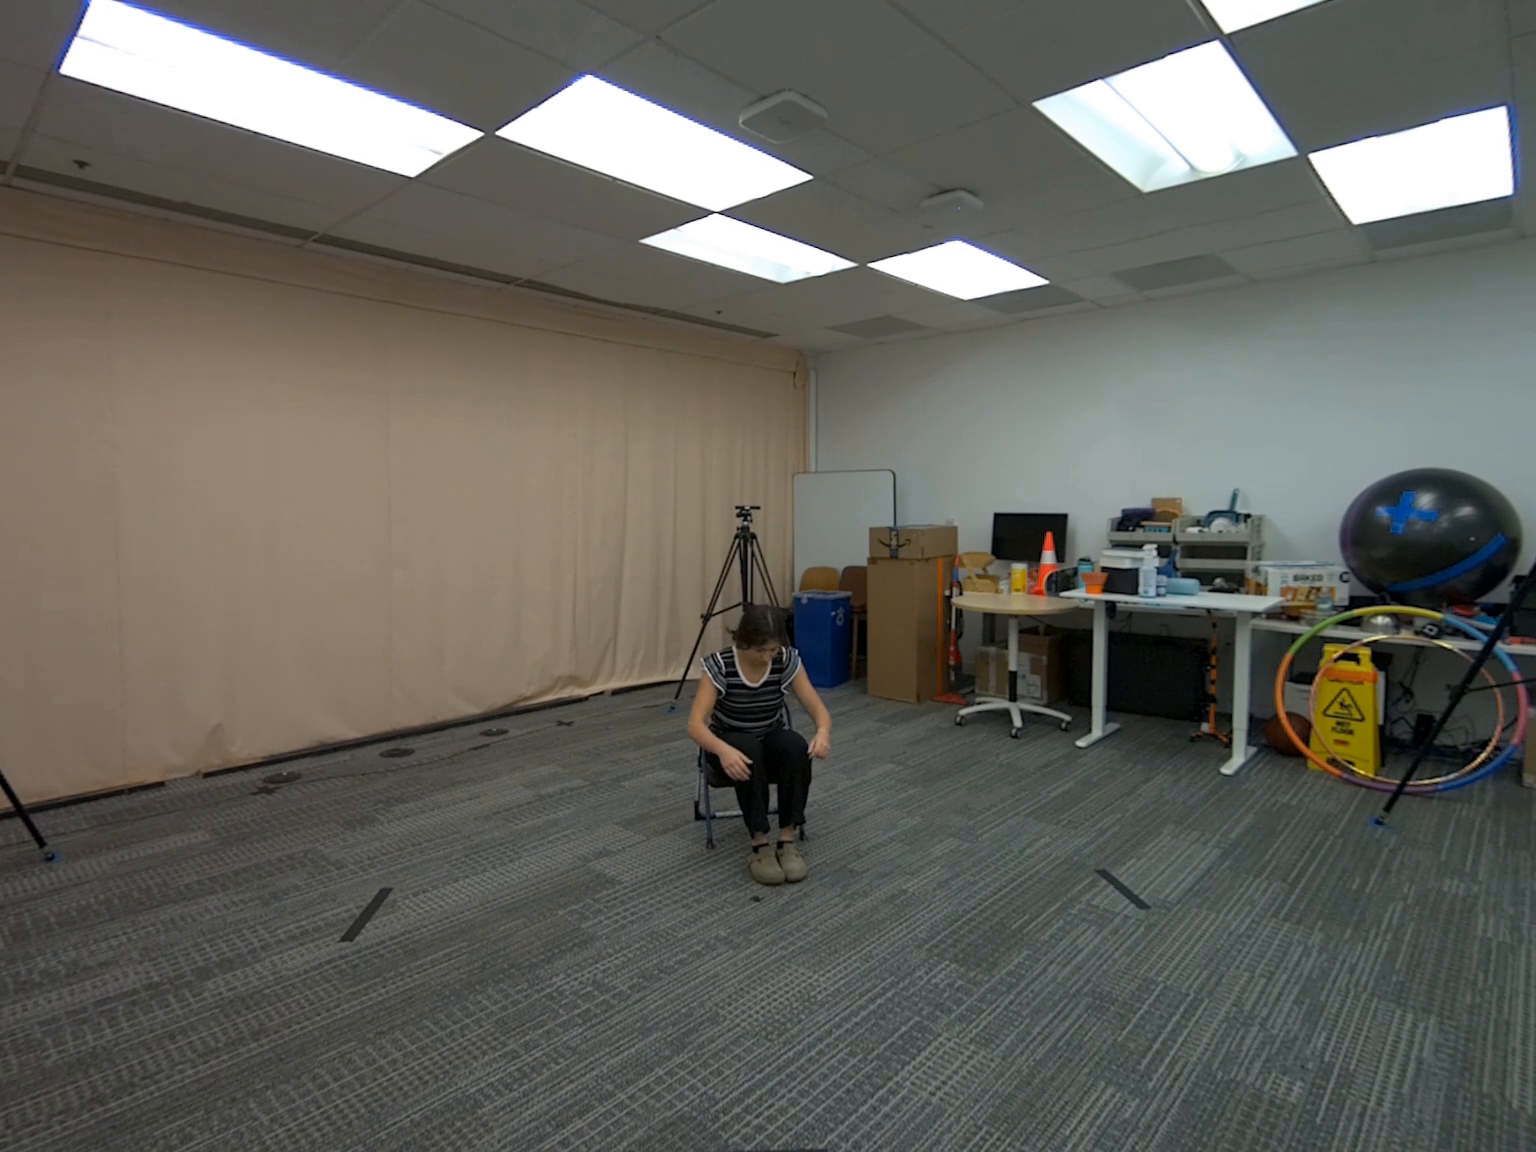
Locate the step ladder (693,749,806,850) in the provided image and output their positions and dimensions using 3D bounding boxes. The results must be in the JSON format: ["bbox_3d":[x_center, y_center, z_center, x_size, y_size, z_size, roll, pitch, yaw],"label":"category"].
[{"bbox_3d":[-0.085,0.796,3.618,0.425,0.605,0.355,0,3,-14],"label":"step ladder"}]
